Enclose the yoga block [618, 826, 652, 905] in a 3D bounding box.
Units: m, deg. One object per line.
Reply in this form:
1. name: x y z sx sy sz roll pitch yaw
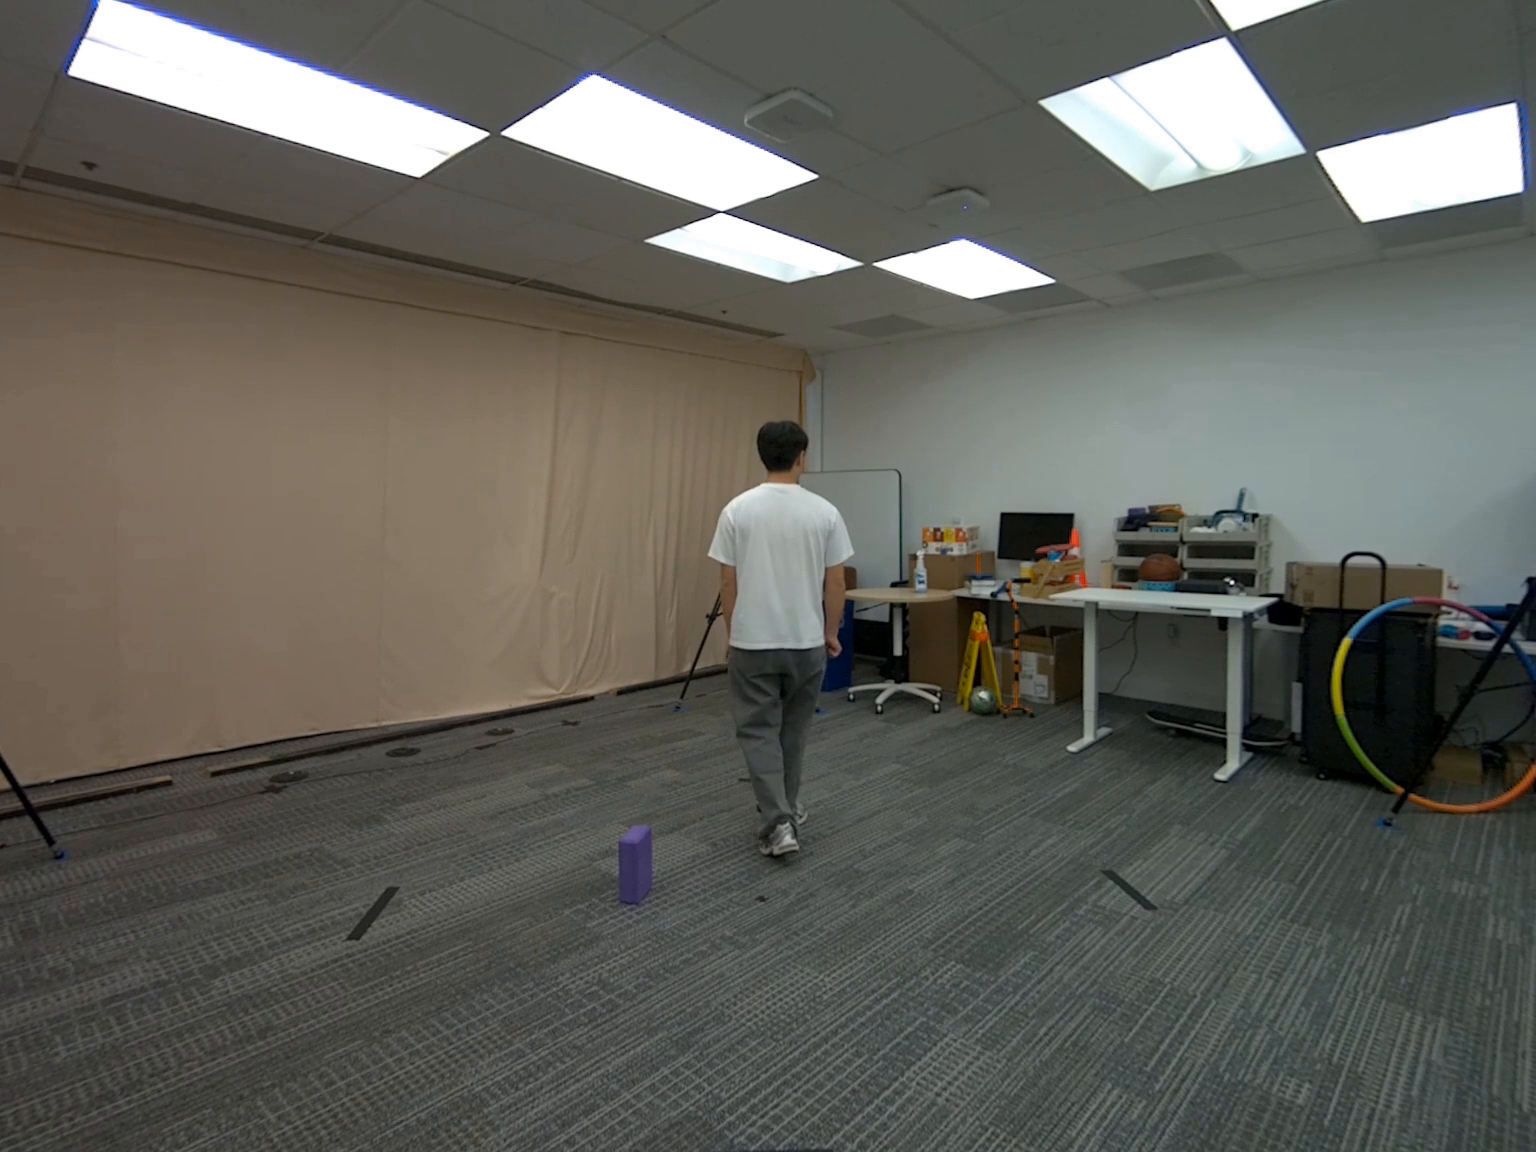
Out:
1. yoga block: -0.469 1.032 3.007 0.077 0.229 0.147 0 3 13
